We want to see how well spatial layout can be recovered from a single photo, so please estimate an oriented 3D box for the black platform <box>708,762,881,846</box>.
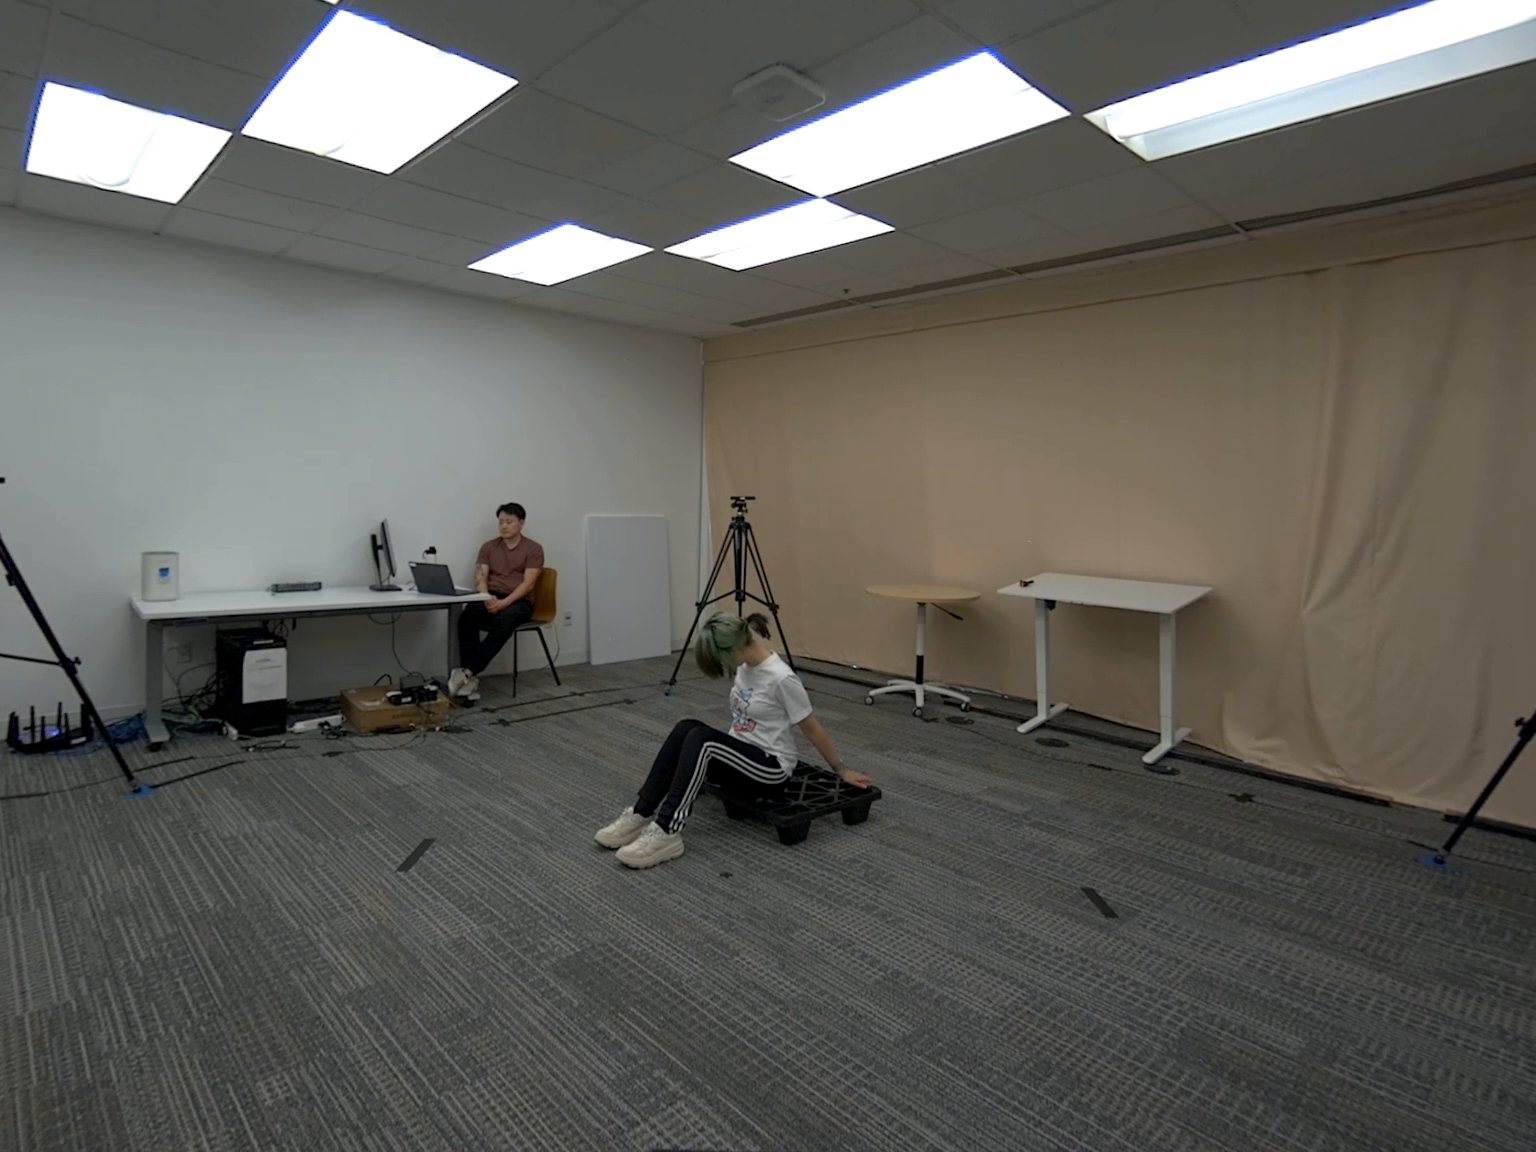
[{"bbox_3d":[0.008,0.981,3.802,0.591,0.143,0.826,-3,6,-40],"label":"black platform"}]
